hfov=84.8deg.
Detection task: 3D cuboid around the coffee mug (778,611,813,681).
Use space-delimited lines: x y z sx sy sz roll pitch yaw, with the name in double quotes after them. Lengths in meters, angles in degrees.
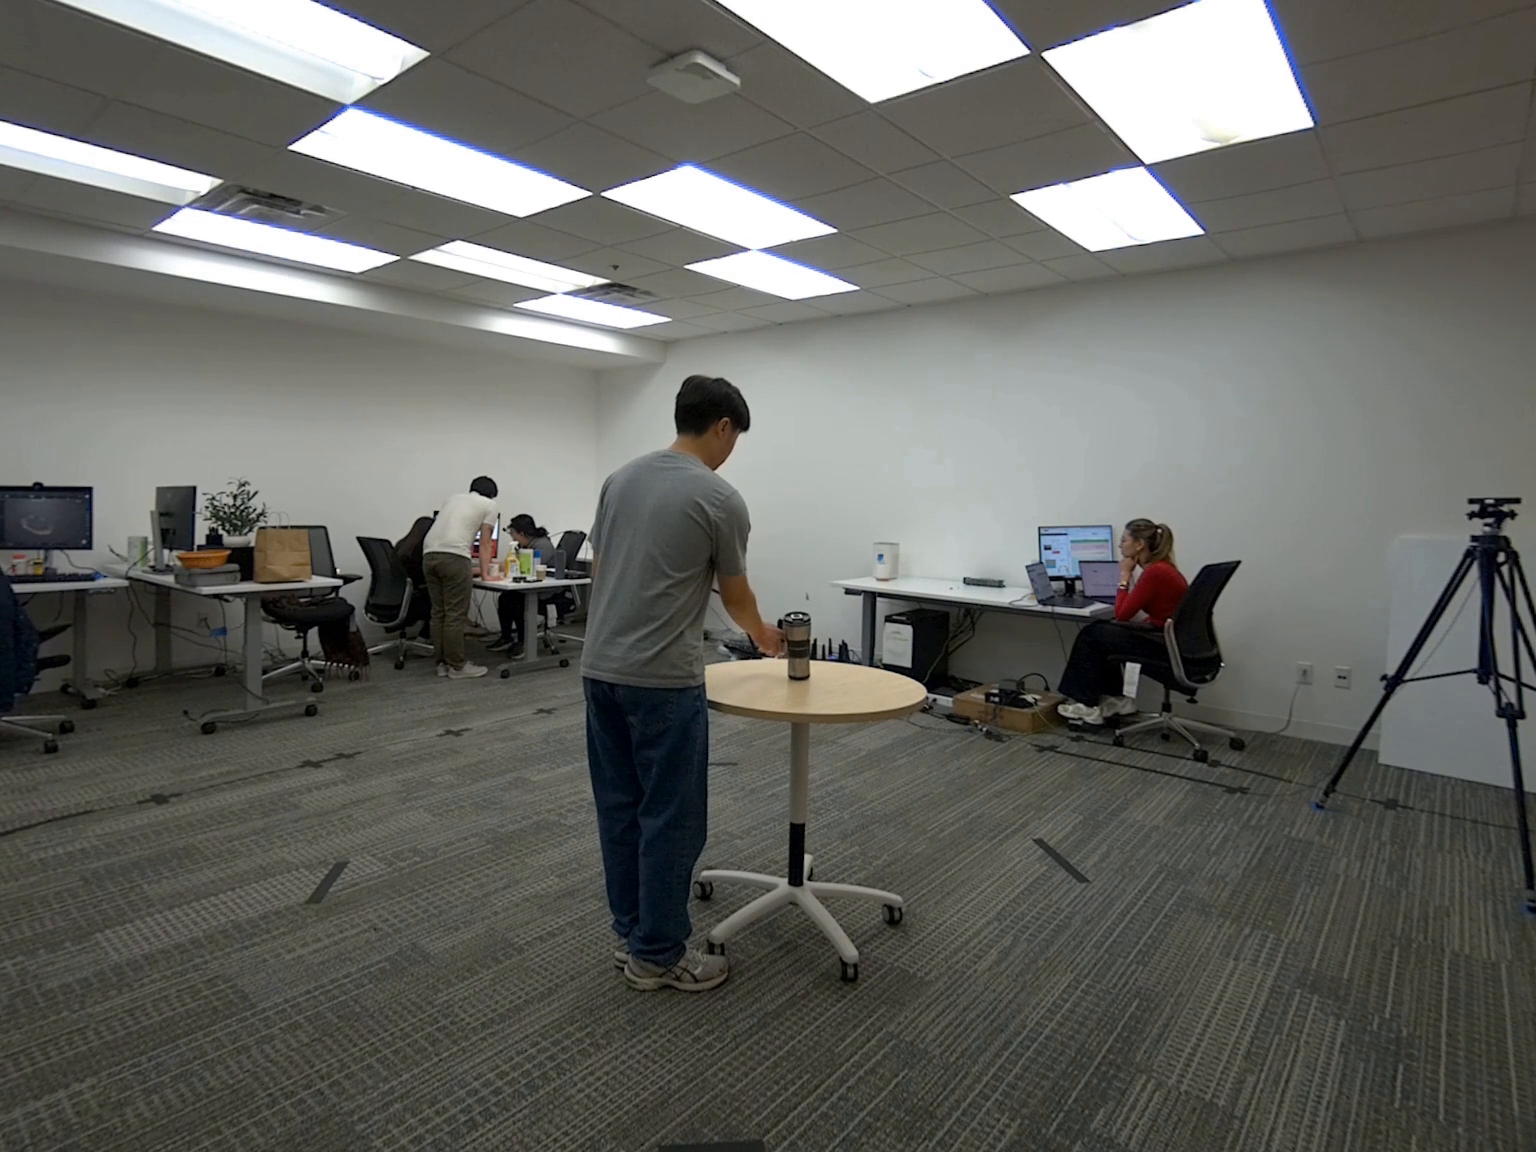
0.085 0.217 2.738 0.089 0.200 0.122 -2 13 11 "coffee mug"
